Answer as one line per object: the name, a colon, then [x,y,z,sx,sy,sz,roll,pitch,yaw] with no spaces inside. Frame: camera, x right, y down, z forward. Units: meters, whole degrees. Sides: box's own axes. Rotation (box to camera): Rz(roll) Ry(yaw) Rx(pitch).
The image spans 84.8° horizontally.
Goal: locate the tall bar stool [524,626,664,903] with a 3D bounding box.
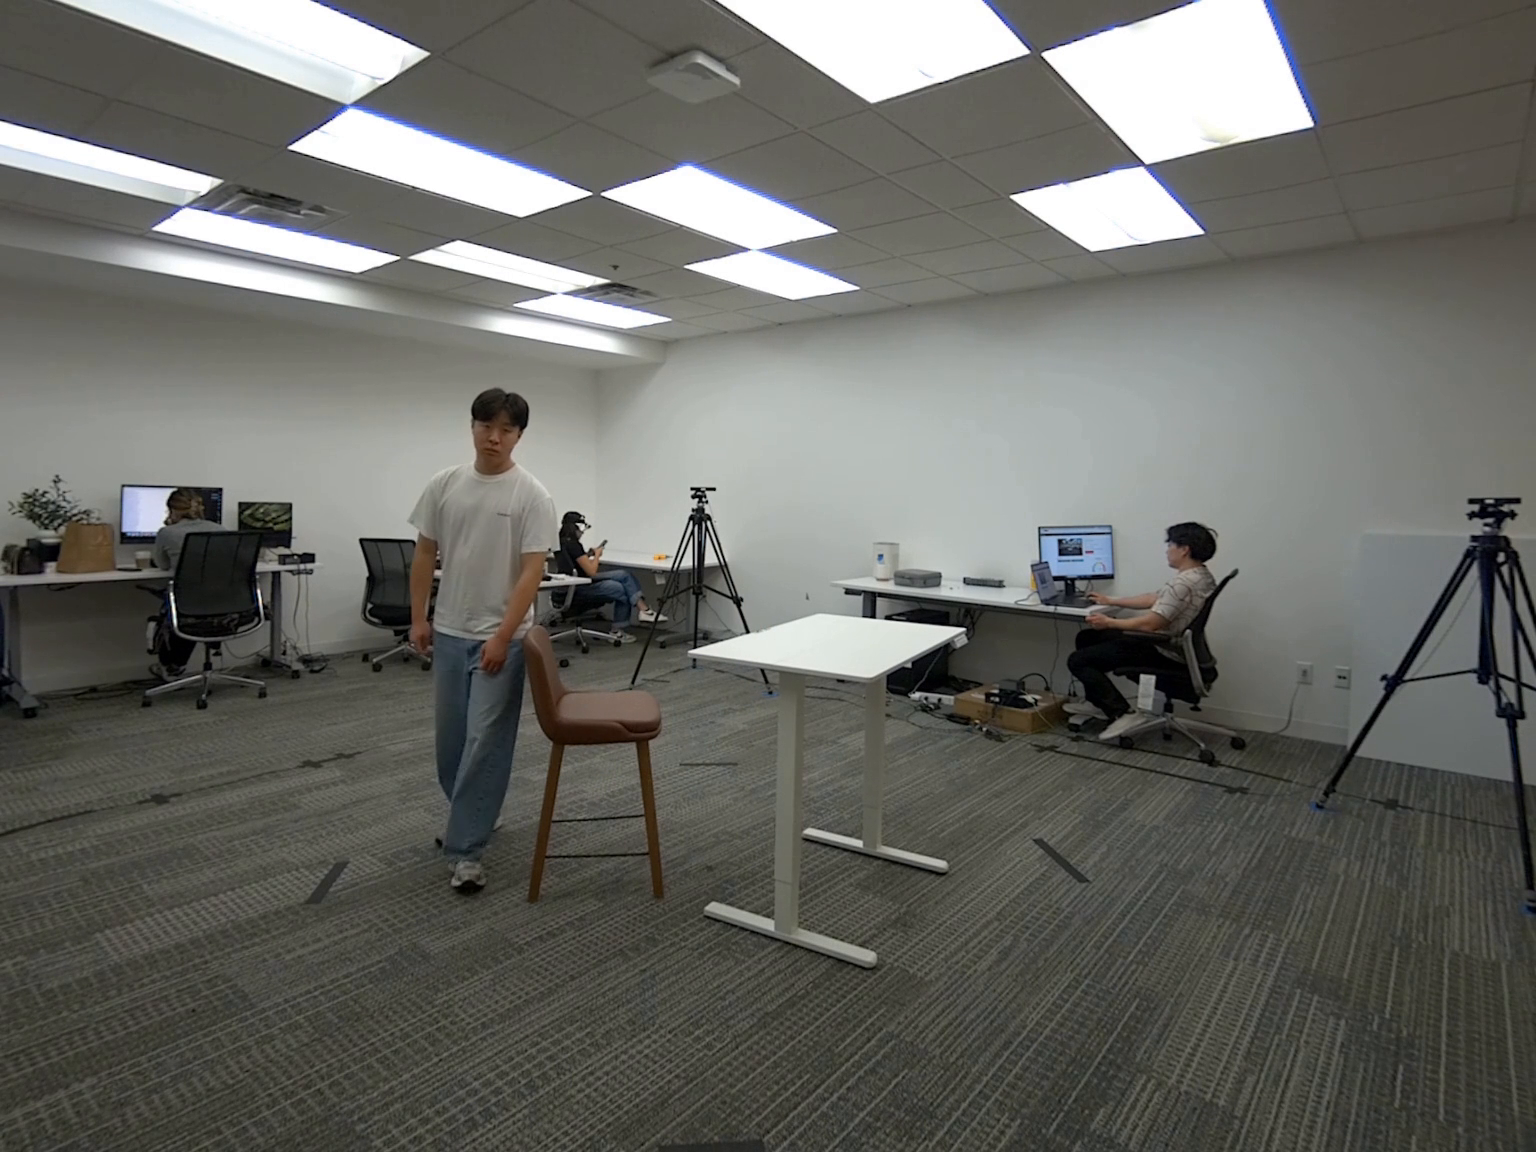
tall bar stool: [-0.622,0.630,3.024,0.463,0.887,0.462,-1,3,-10]
